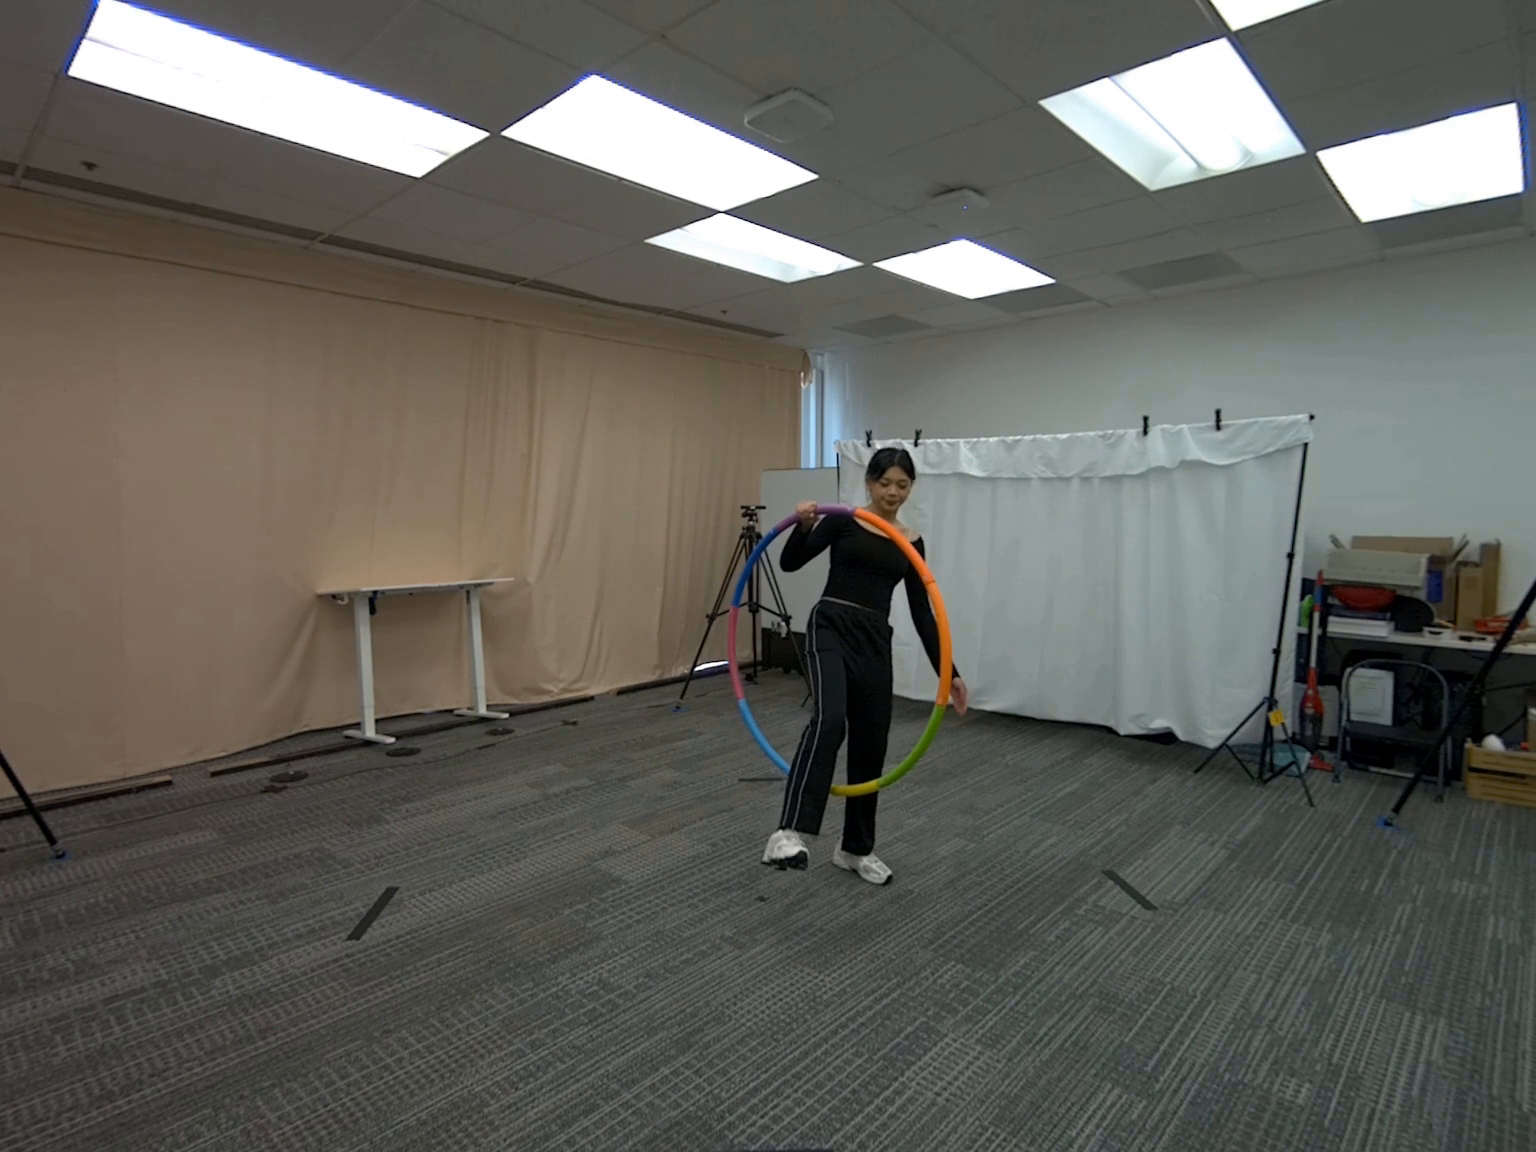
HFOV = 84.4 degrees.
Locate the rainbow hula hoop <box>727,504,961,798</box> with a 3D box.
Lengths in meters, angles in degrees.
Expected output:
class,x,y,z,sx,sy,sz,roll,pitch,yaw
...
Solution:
class,x,y,z,sx,sy,sz,roll,pitch,yaw
rainbow hula hoop,0.208,0.245,2.907,0.034,0.978,1.011,1,2,-44
